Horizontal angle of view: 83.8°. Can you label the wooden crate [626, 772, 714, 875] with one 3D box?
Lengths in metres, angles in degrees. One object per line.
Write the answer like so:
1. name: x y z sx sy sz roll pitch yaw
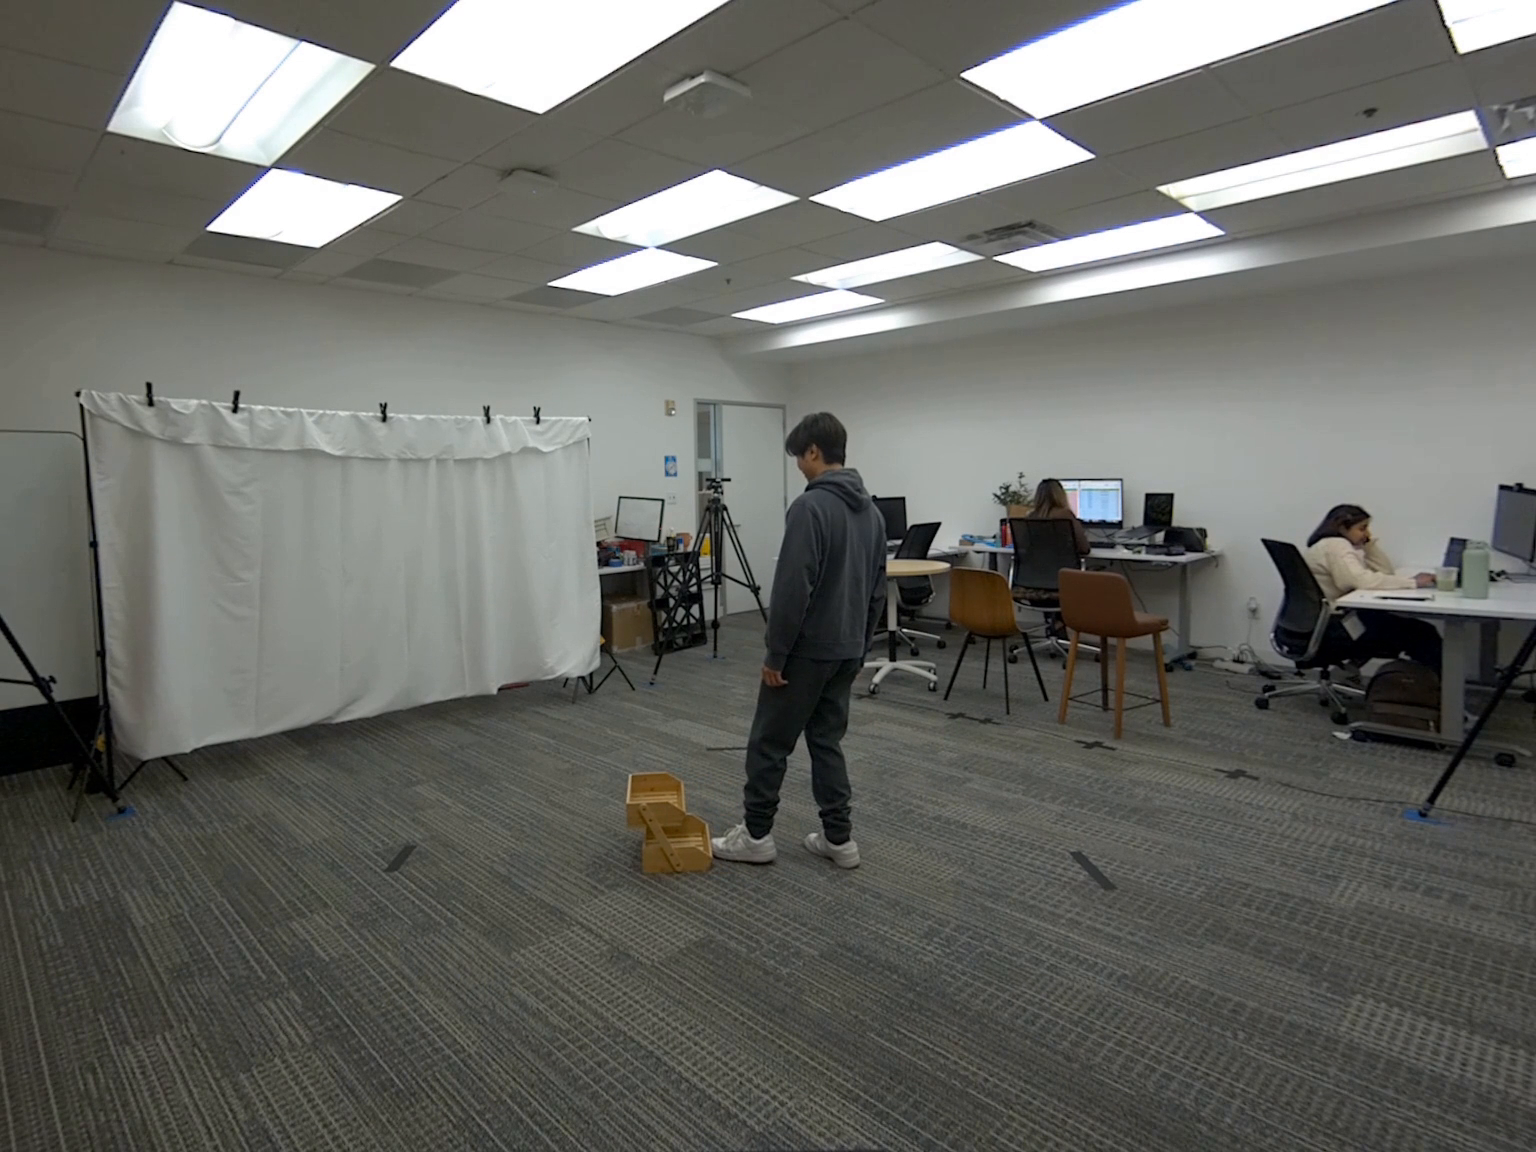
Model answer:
1. wooden crate: -0.360 0.904 3.180 0.300 0.272 0.328 -2 5 -6
